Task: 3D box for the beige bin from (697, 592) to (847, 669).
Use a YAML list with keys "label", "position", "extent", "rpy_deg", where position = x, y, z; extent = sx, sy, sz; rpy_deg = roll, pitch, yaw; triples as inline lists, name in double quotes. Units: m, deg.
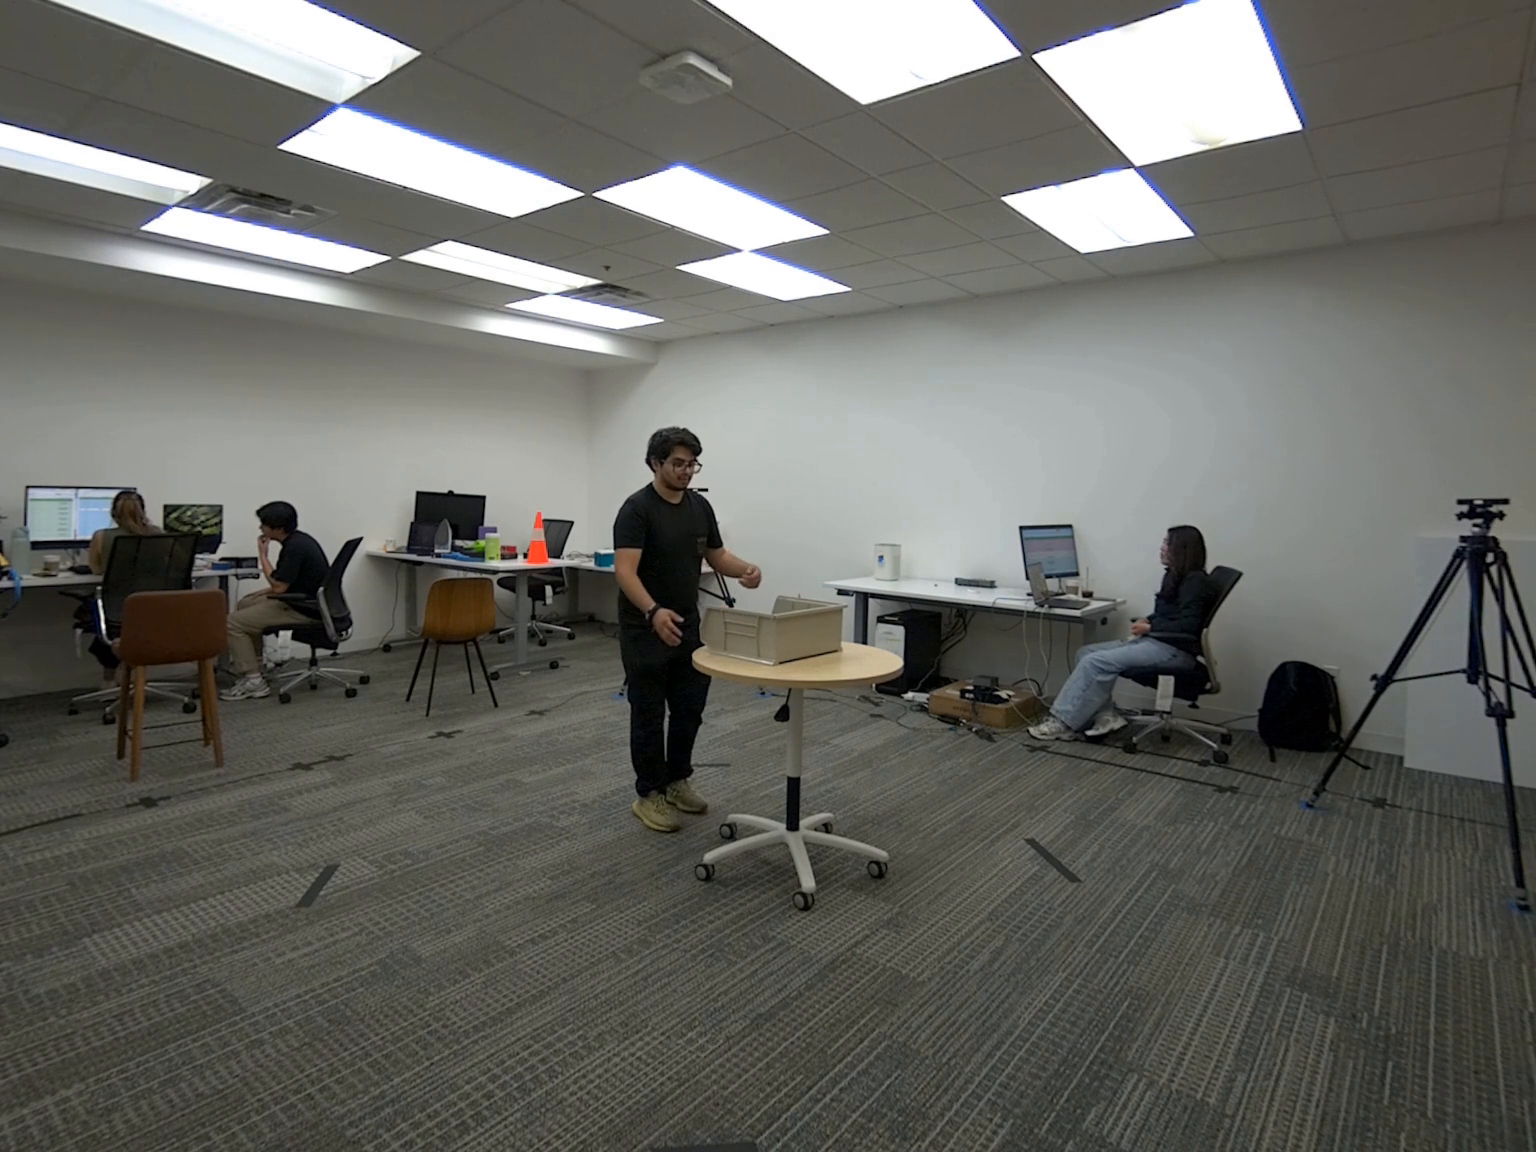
- label: "beige bin"
  position: [0.014, 0.194, 3.200]
  extent: [0.391, 0.188, 0.409]
  rpy_deg: [8, 8, 42]
